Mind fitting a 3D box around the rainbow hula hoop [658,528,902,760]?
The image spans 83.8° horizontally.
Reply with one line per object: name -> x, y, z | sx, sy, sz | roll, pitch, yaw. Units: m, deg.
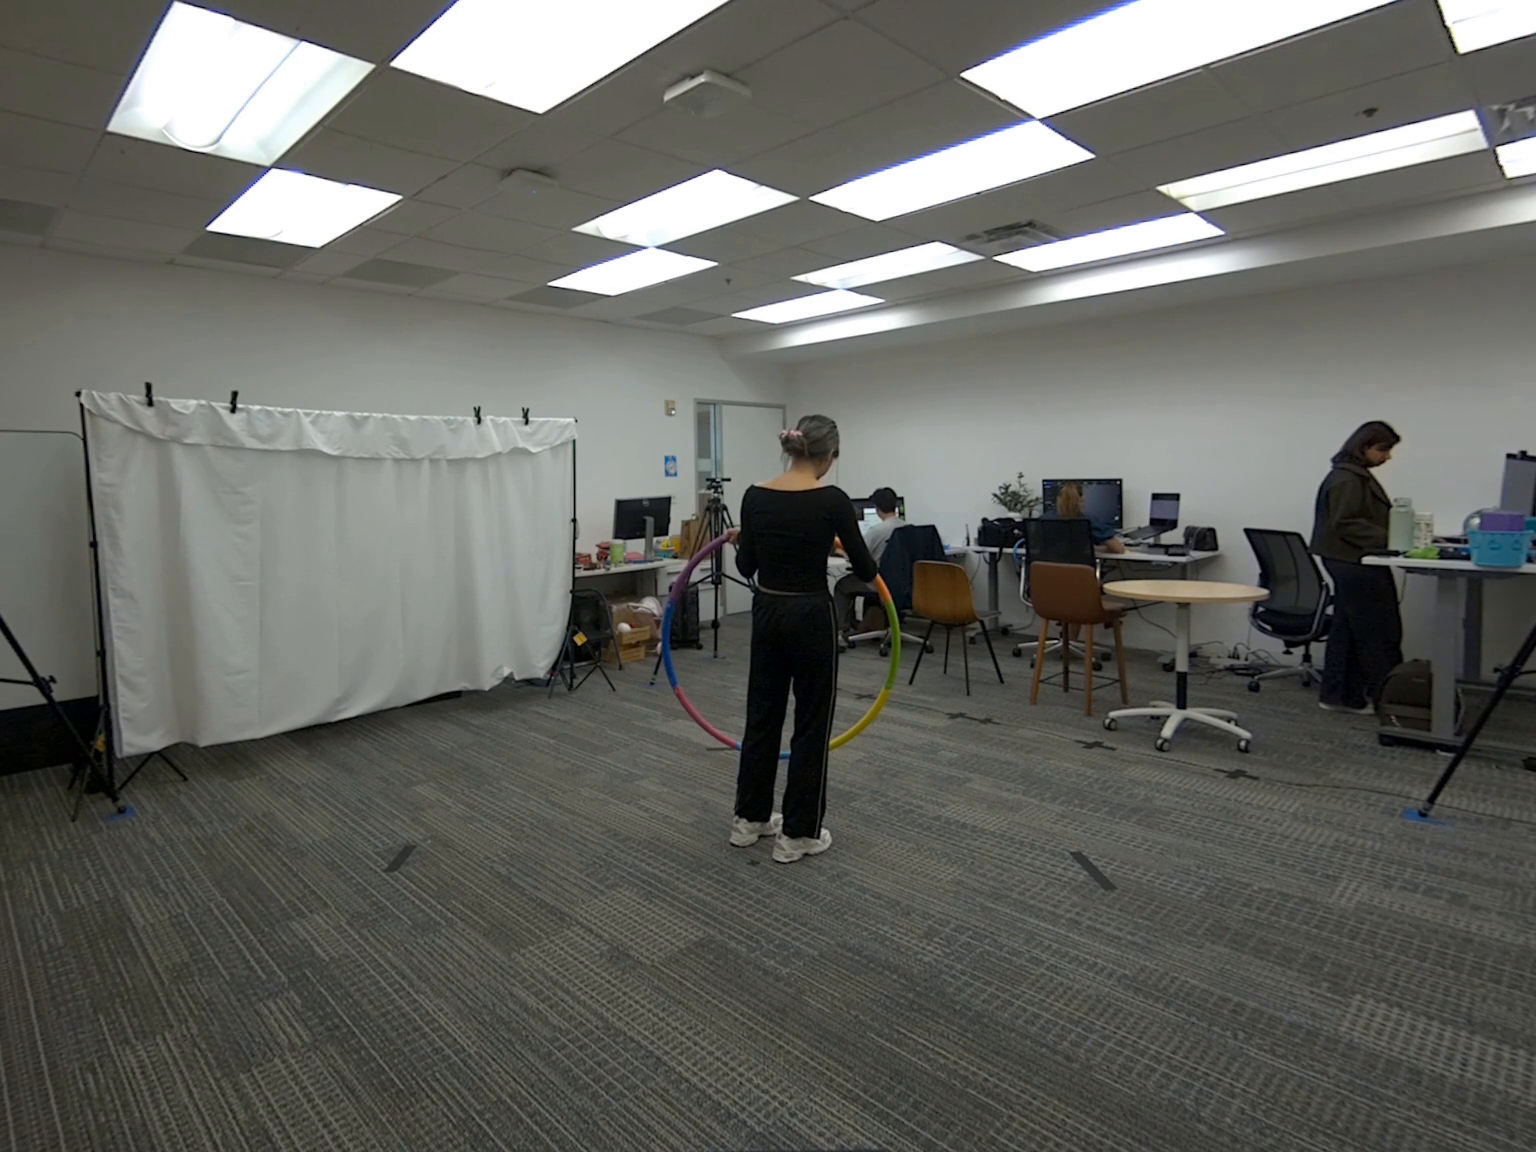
rainbow hula hoop -> 0.042, 0.280, 3.470 | 0.988, 0.969, 0.035 | 0, 10, 10
